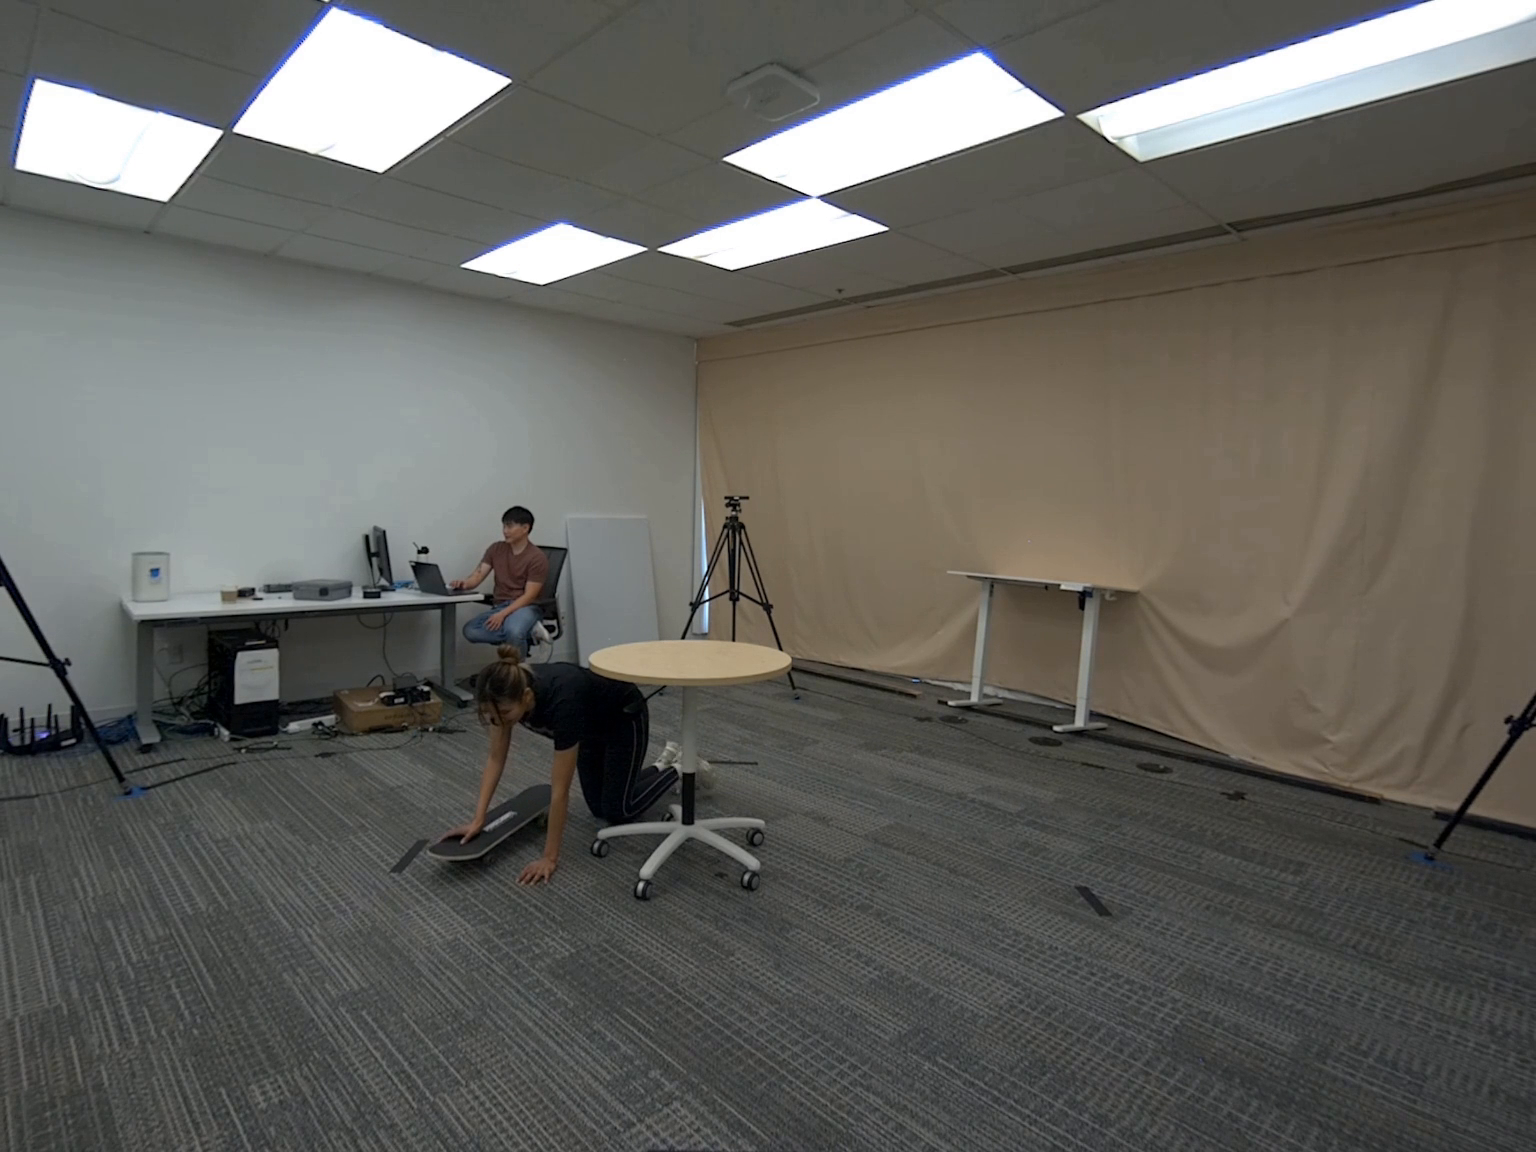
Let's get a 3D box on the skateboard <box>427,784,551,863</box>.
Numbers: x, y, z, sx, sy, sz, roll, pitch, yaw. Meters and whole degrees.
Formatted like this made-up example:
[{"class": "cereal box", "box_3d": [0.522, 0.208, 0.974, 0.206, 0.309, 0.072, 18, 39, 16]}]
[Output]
[{"class": "skateboard", "box_3d": [-1.064, 1.000, 3.340, 0.196, 0.110, 0.777, 2, 5, 15]}]
